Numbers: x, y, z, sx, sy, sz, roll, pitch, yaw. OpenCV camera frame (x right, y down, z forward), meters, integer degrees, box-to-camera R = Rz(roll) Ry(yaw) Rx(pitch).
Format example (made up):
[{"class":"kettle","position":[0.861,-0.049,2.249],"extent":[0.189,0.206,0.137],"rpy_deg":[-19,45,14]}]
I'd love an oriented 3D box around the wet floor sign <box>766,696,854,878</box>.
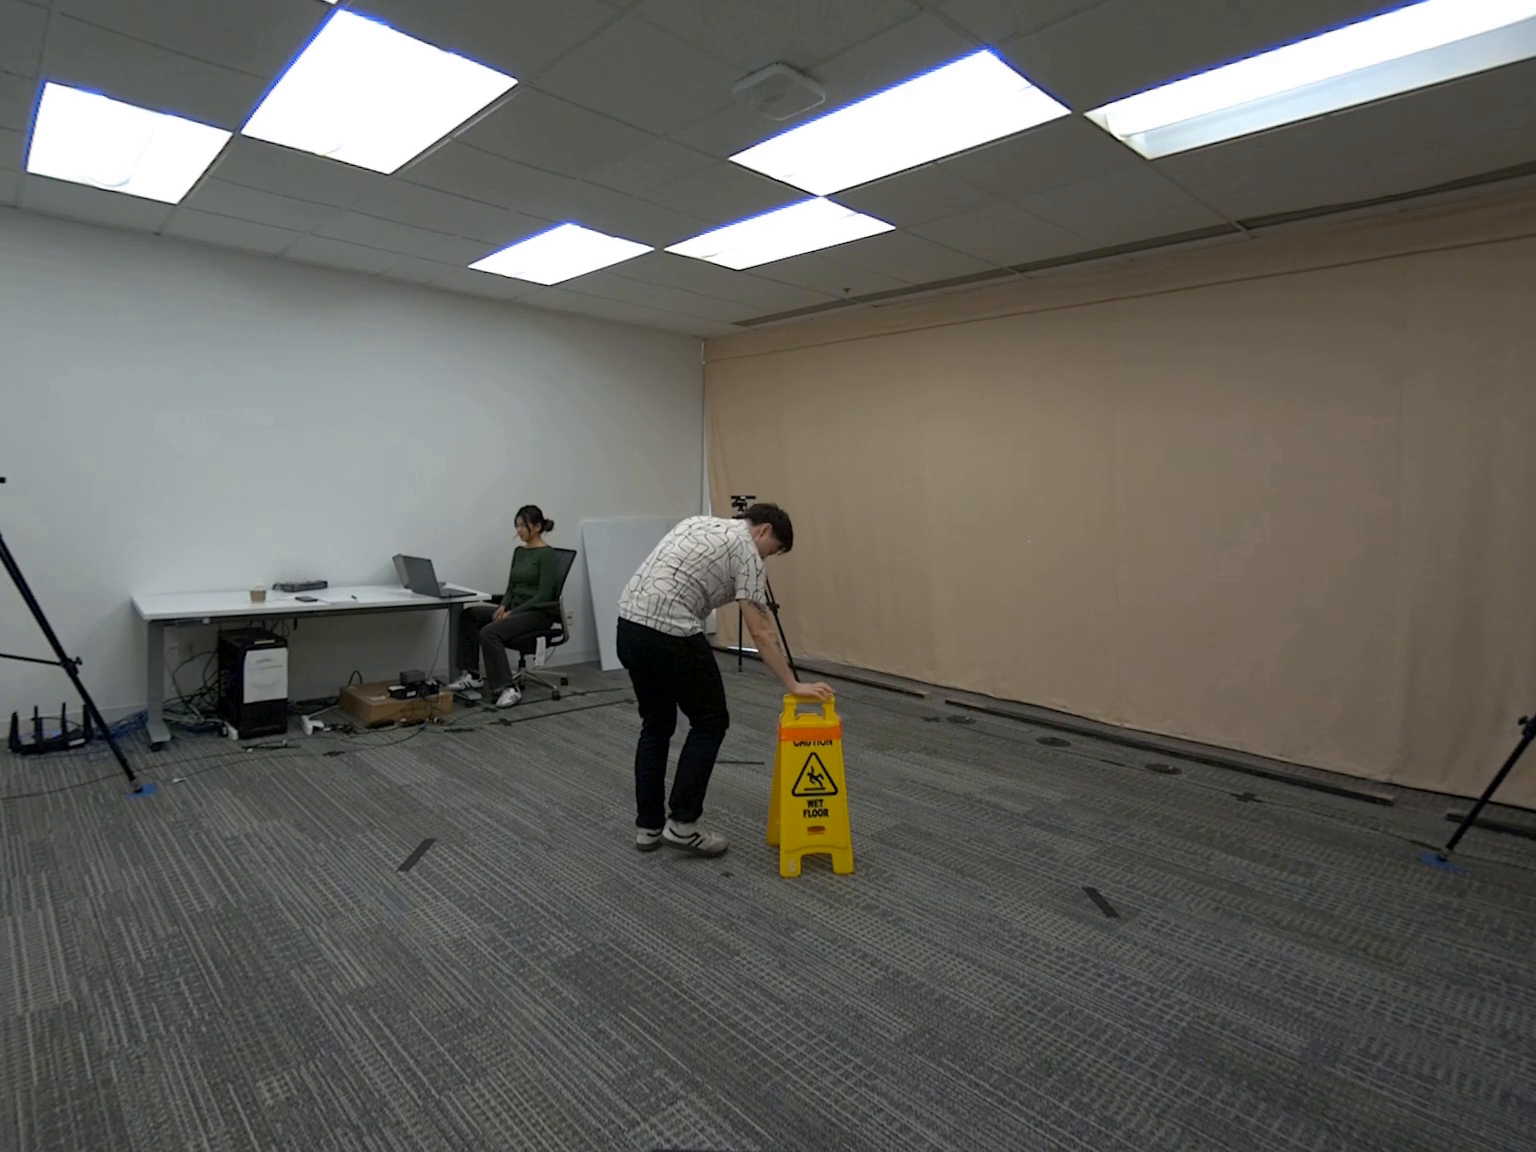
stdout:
[{"class":"wet floor sign","position":[0.153,0.773,3.242],"extent":[0.280,0.645,0.292],"rpy_deg":[1,3,-9]}]
